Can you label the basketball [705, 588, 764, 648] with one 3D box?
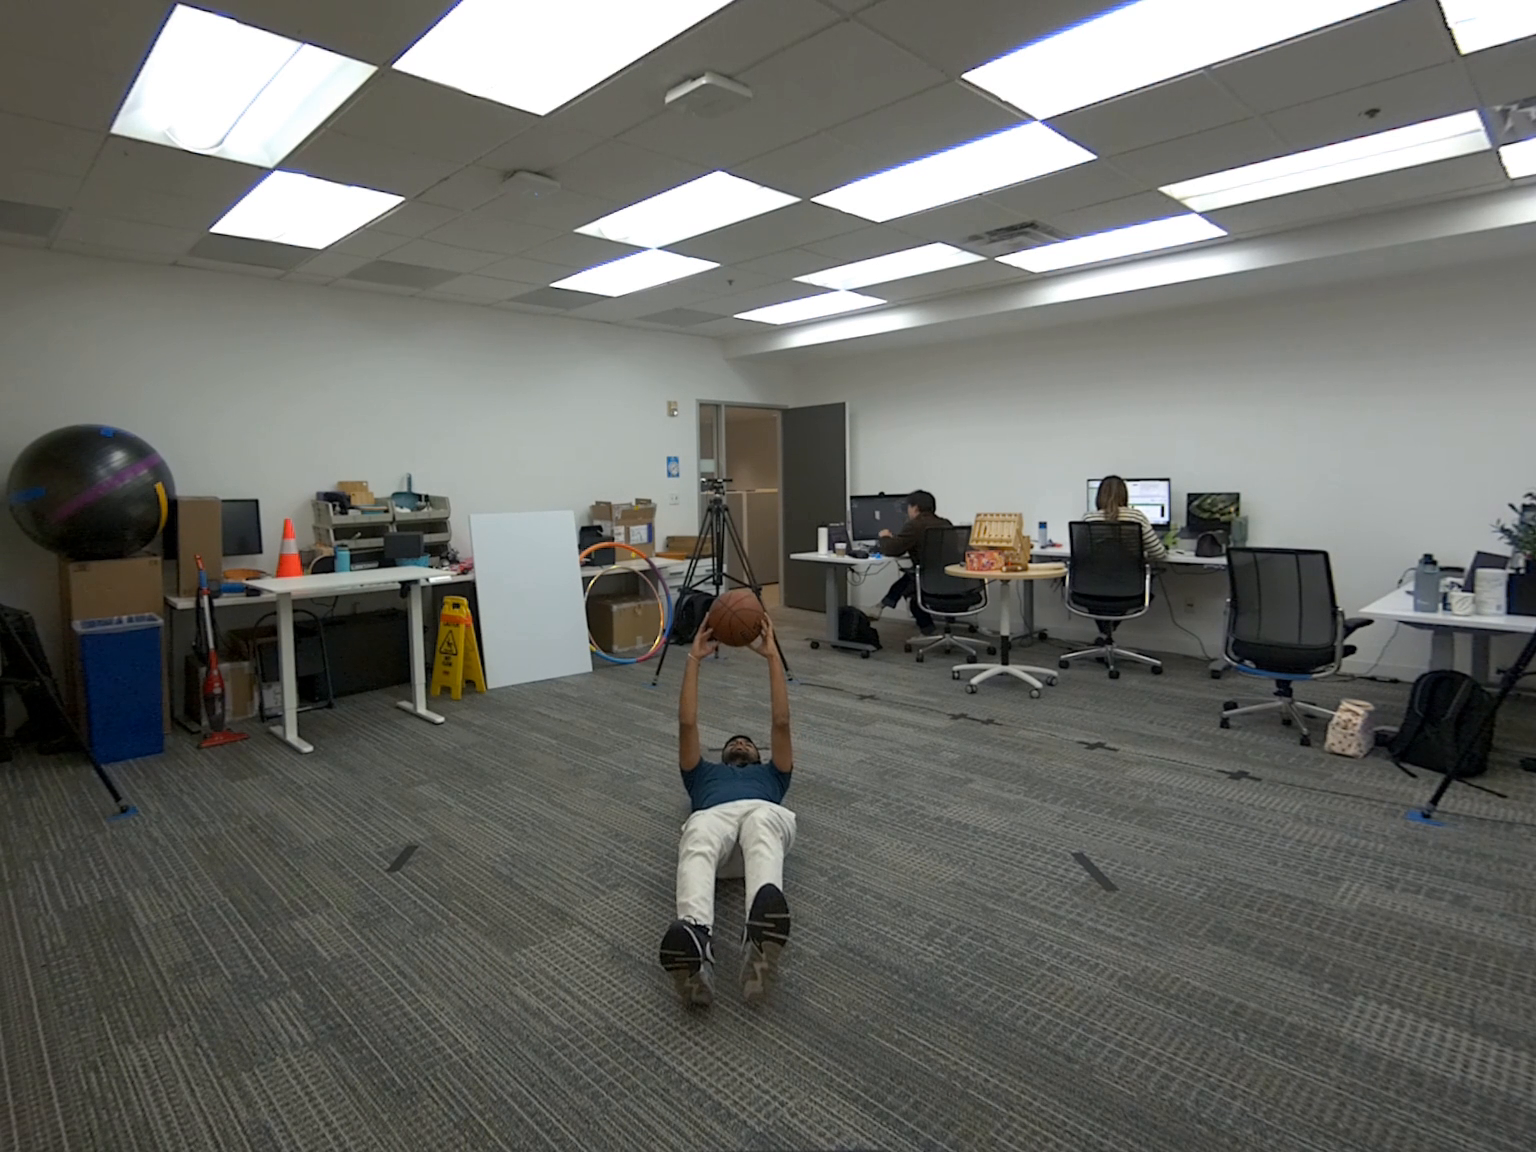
[{"bbox_3d":[-0.136,0.176,3.608,0.236,0.235,0.237,-1,5,-2],"label":"basketball"}]
